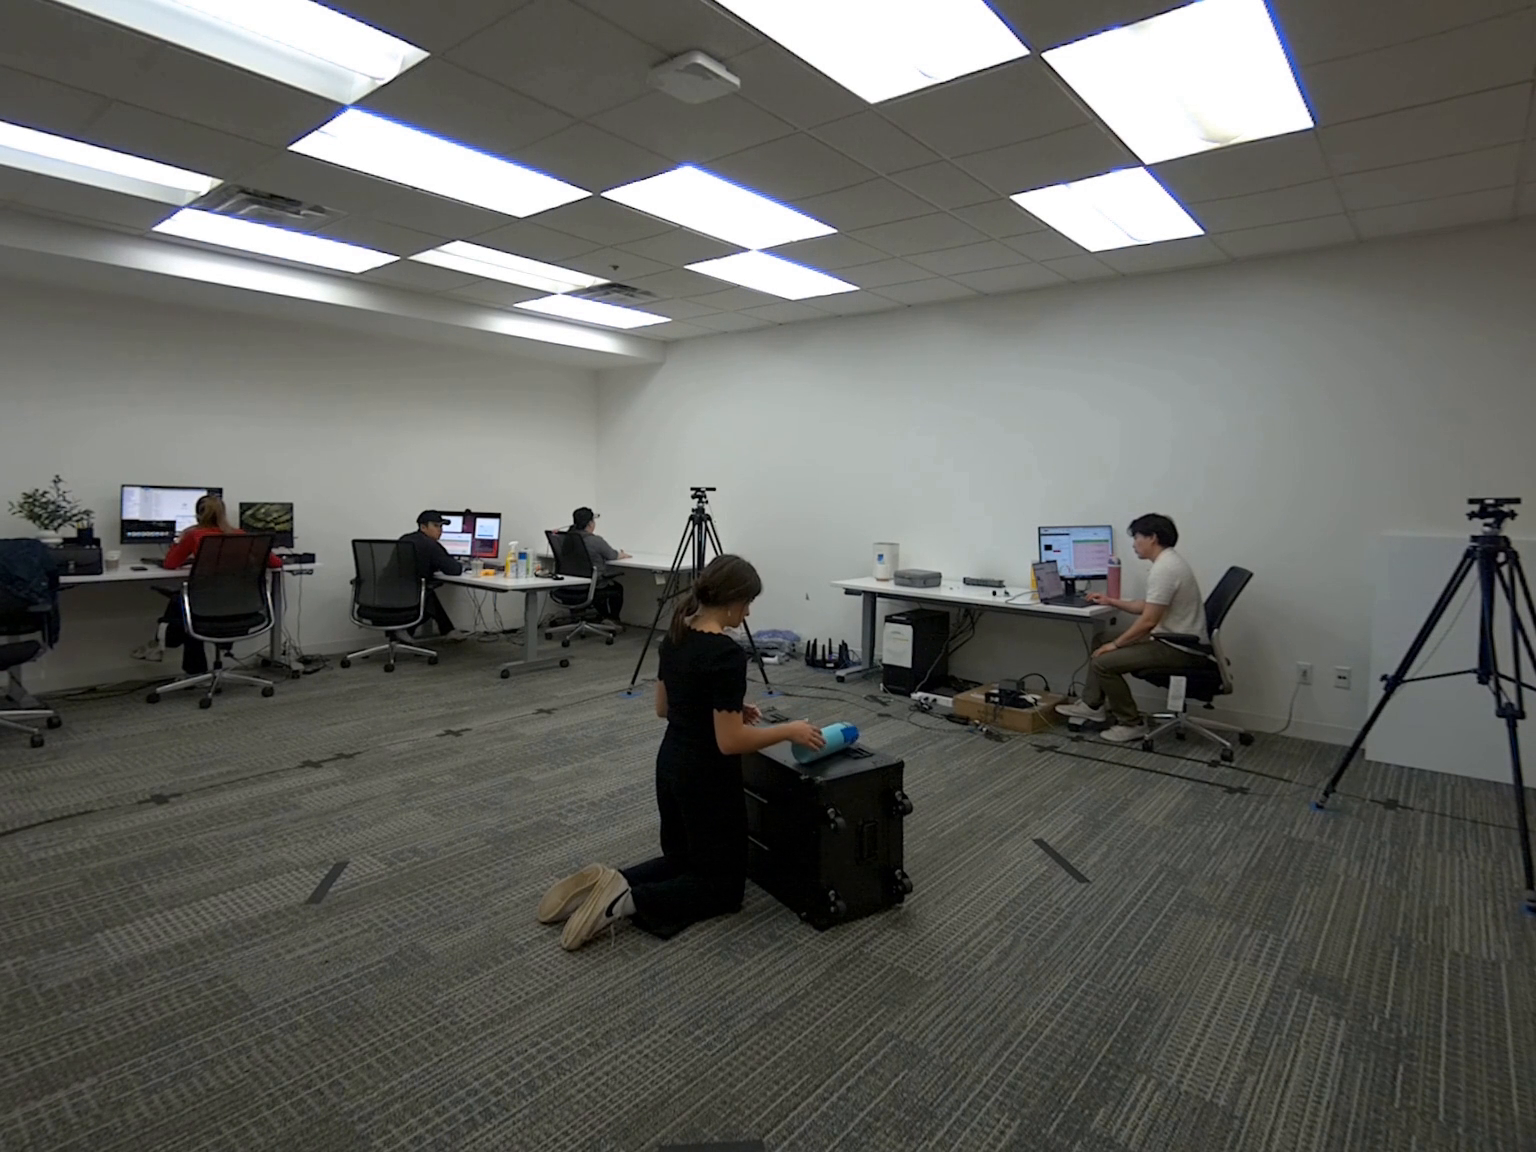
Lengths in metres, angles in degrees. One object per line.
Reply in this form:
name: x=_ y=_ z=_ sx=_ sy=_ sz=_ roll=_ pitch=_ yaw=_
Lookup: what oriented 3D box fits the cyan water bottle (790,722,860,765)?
cyan water bottle: x=0.193 y=0.563 z=2.906 sx=0.275 sy=0.092 sz=0.095 roll=-8 pitch=9 yaw=-43
